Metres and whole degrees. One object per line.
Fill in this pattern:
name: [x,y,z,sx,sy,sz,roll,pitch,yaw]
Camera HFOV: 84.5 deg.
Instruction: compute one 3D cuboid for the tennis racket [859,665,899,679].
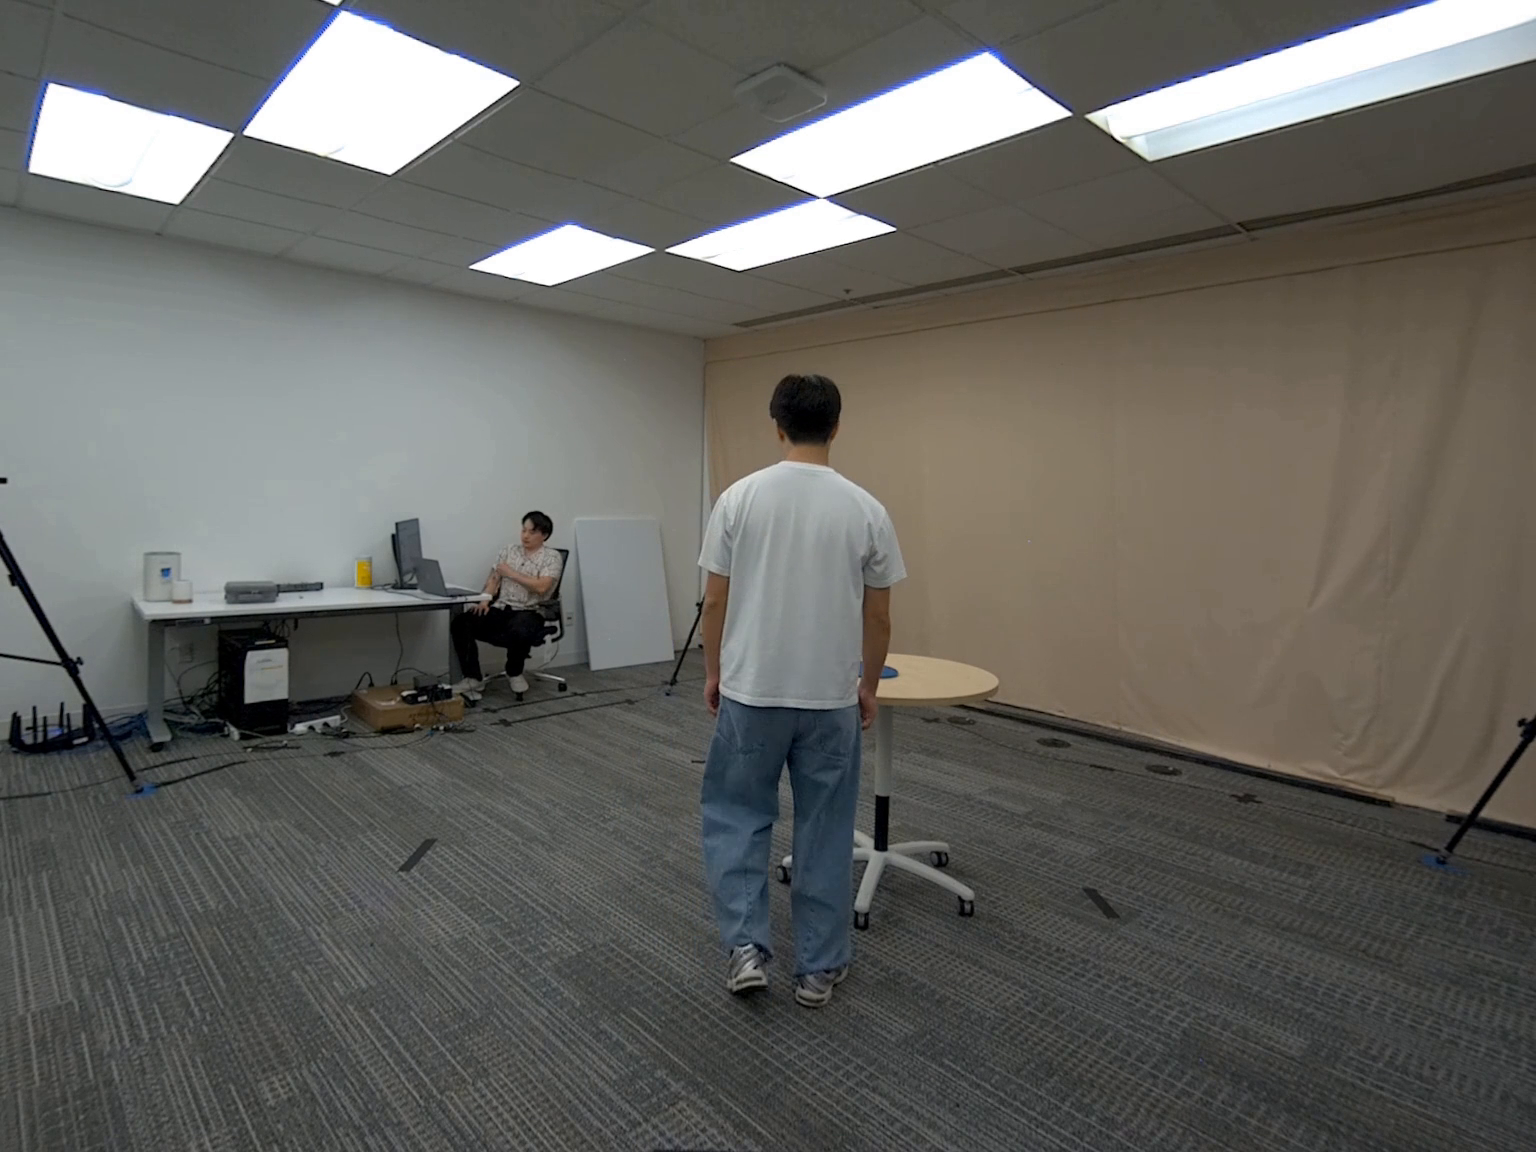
tennis racket: [0.275,0.328,3.070,0.209,0.031,0.444,-3,9,-44]
